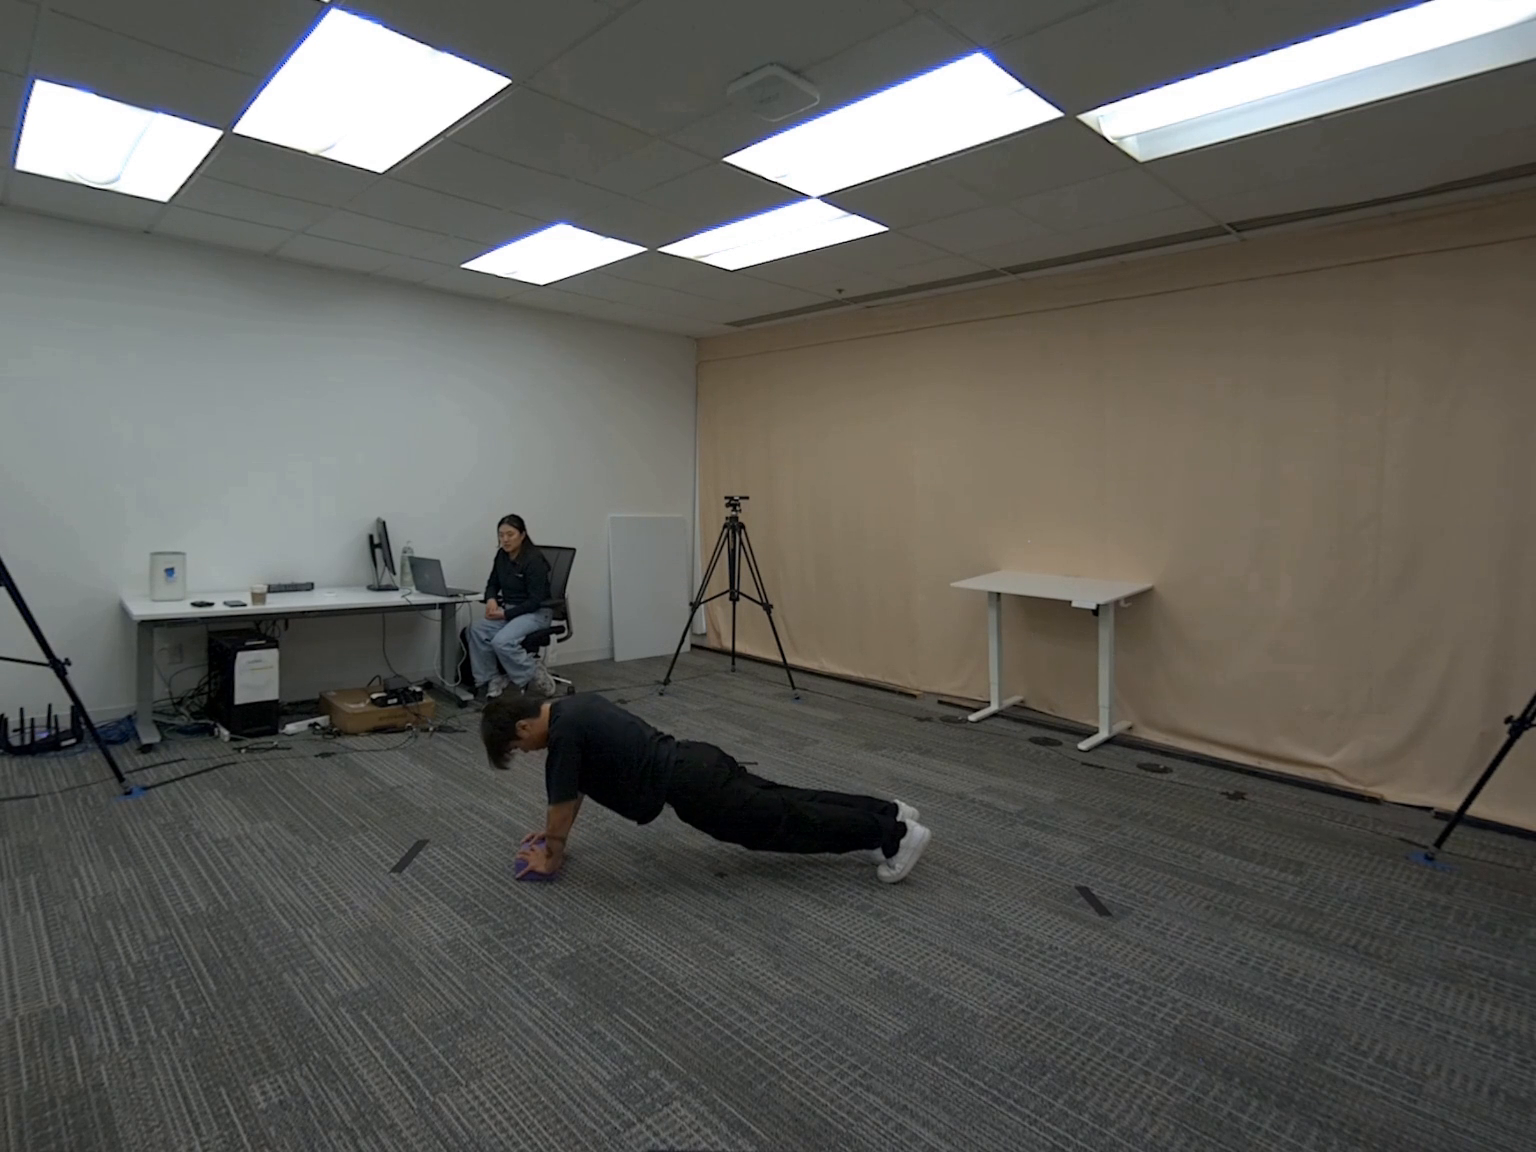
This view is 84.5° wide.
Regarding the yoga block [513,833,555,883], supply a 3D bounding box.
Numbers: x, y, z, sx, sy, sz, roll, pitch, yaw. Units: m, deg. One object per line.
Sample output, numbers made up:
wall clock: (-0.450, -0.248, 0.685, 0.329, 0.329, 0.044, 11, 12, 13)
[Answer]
yoga block: (-0.851, 1.051, 3.143, 0.148, 0.076, 0.231, 0, 5, -6)
